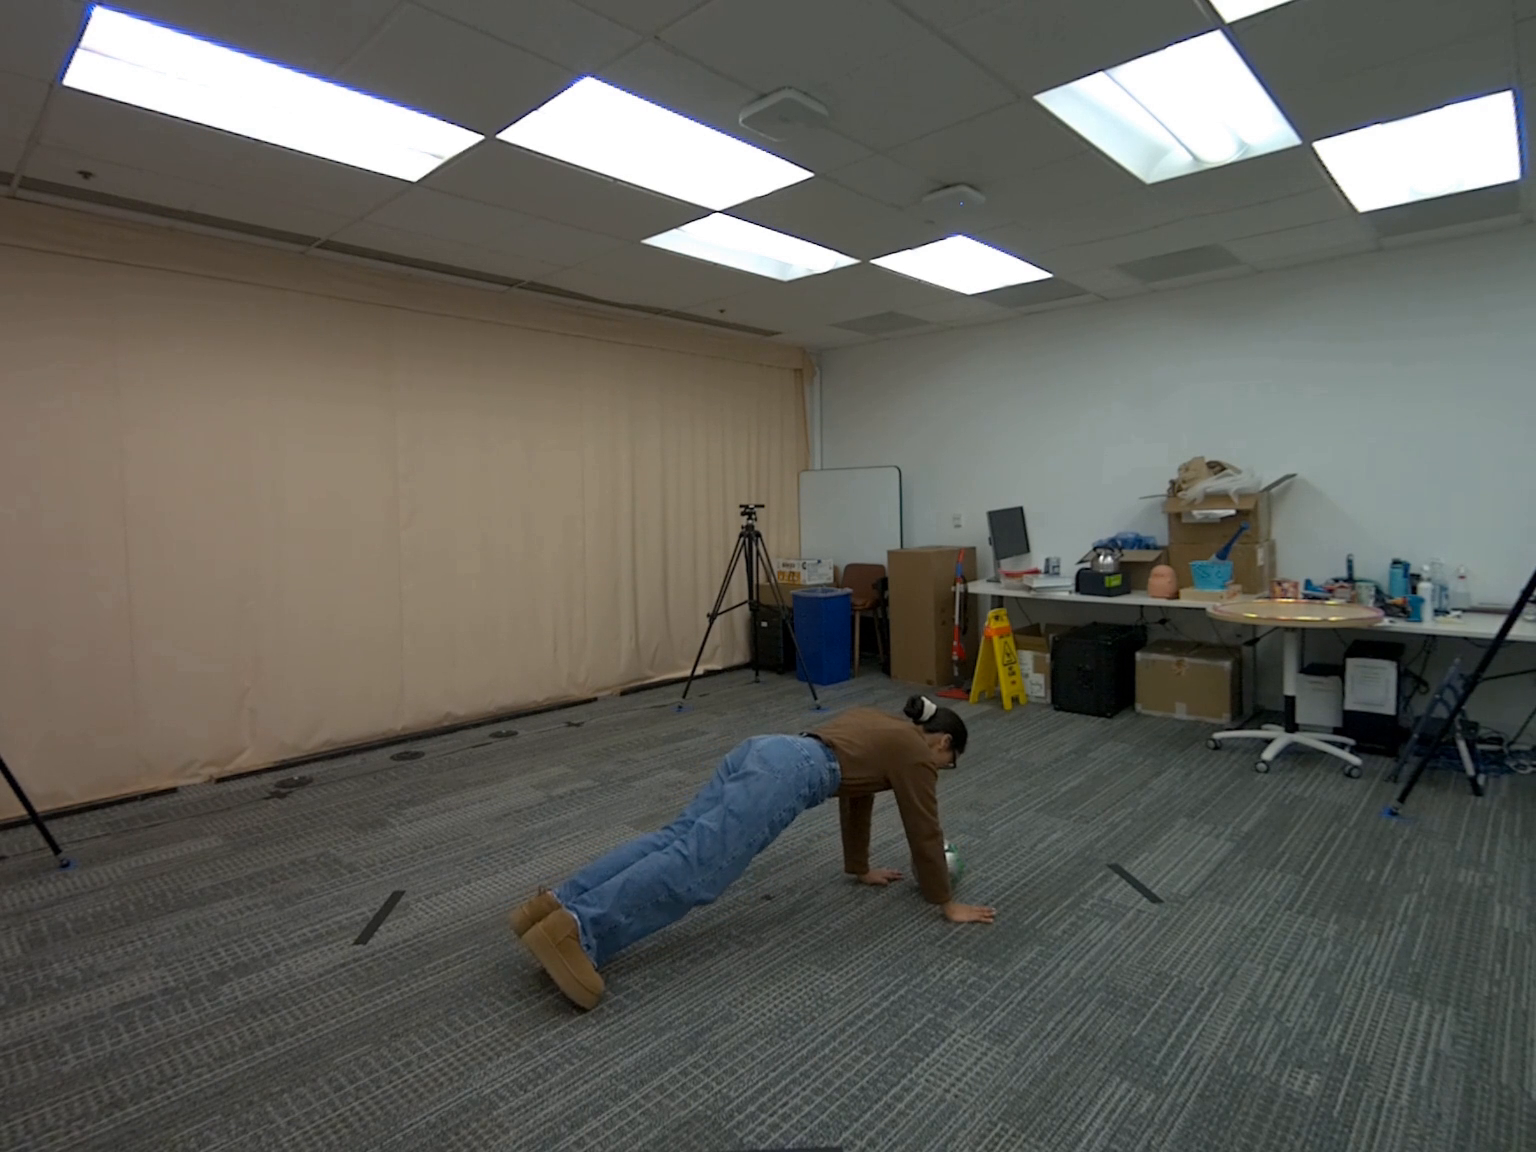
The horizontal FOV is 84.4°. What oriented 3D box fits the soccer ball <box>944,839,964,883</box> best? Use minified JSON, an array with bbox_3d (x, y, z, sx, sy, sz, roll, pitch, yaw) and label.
[{"bbox_3d":[0.619,1.035,3.012,0.187,0.187,0.188,-1,4,-2],"label":"soccer ball"}]
